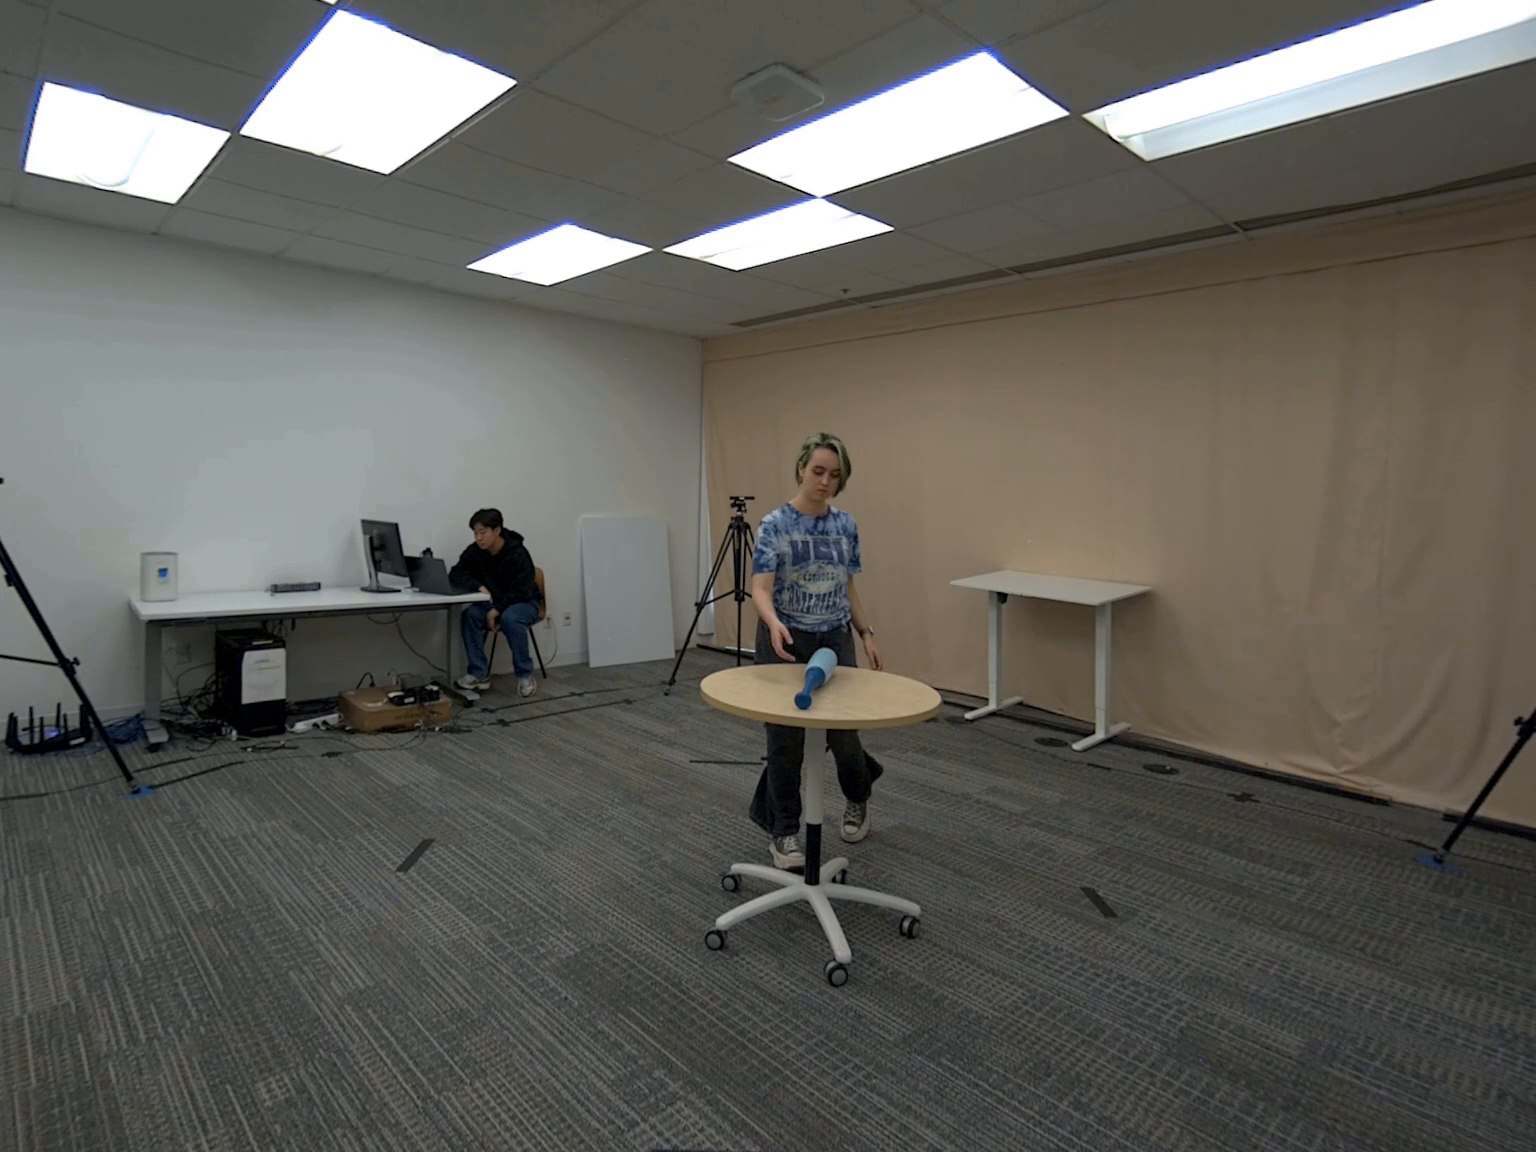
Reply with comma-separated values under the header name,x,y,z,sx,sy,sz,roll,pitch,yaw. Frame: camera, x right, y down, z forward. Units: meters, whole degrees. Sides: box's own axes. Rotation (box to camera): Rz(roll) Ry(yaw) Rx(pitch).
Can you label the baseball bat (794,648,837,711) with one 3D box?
name,x,y,z,sx,sy,sz,roll,pitch,yaw
baseball bat,0.140,0.331,2.674,0.090,0.088,0.542,2,9,7
